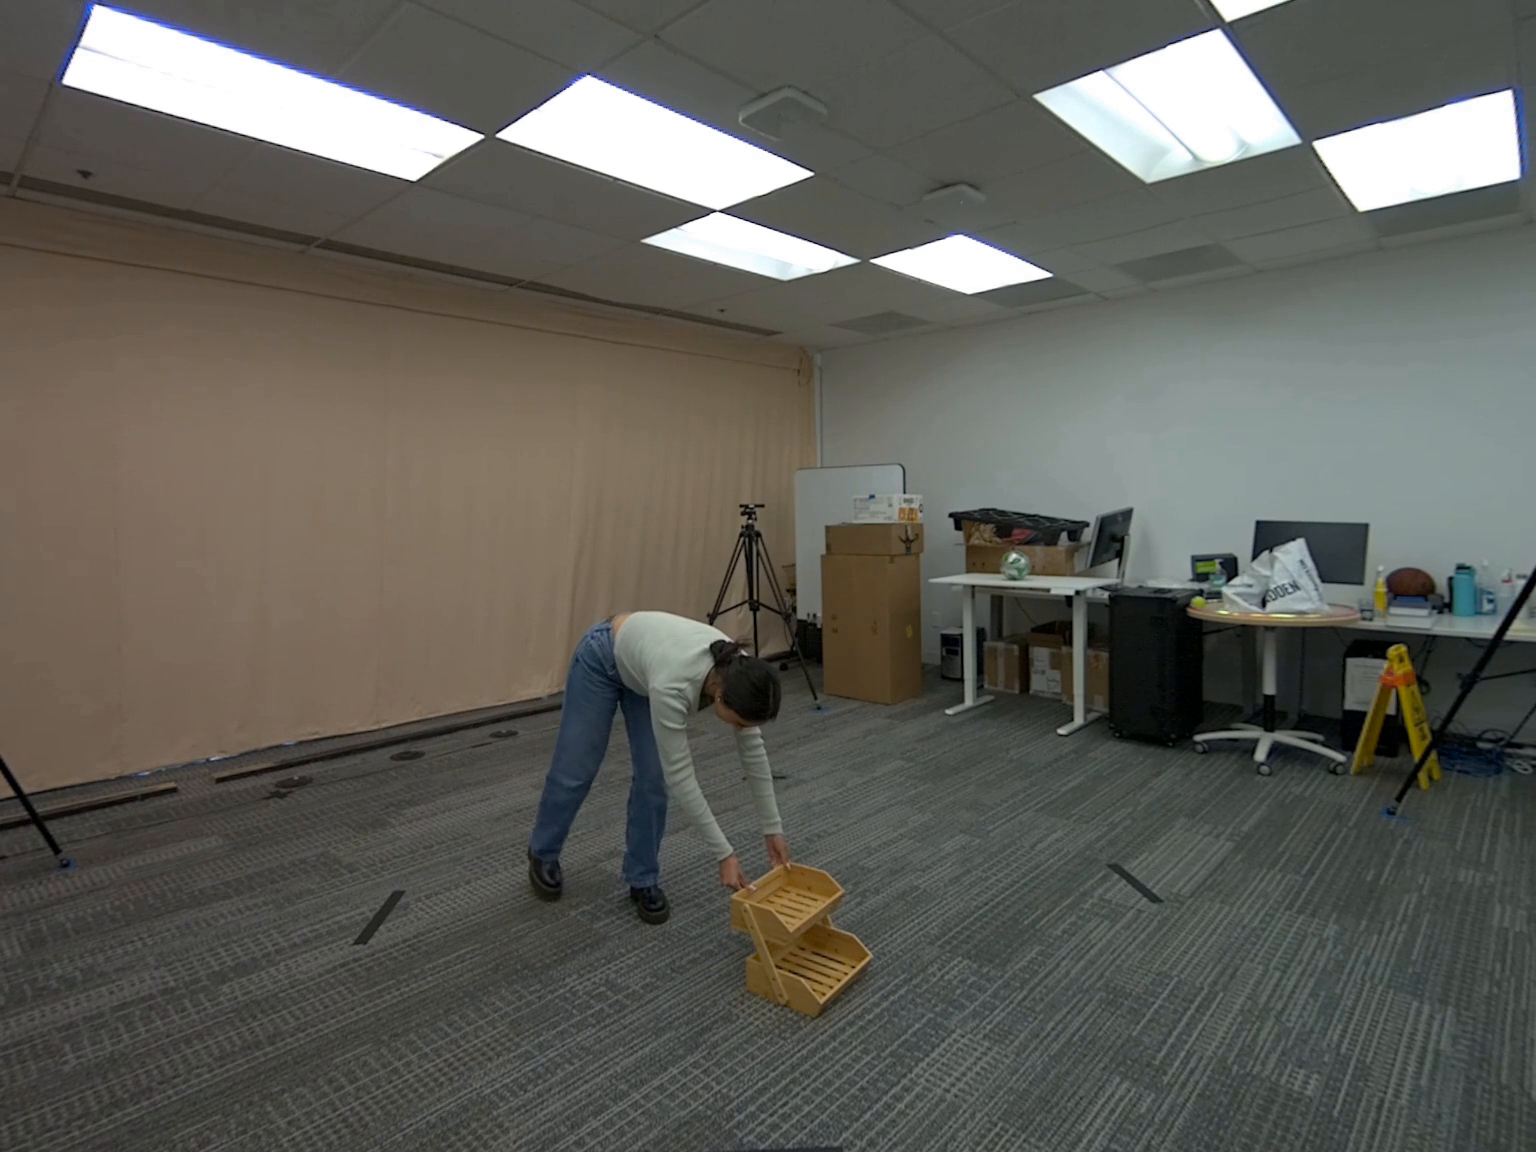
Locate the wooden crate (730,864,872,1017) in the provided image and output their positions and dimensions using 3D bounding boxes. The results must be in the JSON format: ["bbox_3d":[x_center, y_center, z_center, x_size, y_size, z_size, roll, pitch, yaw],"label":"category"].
[{"bbox_3d":[0.107,1.048,2.465,0.311,0.273,0.315,1,4,37],"label":"wooden crate"}]
